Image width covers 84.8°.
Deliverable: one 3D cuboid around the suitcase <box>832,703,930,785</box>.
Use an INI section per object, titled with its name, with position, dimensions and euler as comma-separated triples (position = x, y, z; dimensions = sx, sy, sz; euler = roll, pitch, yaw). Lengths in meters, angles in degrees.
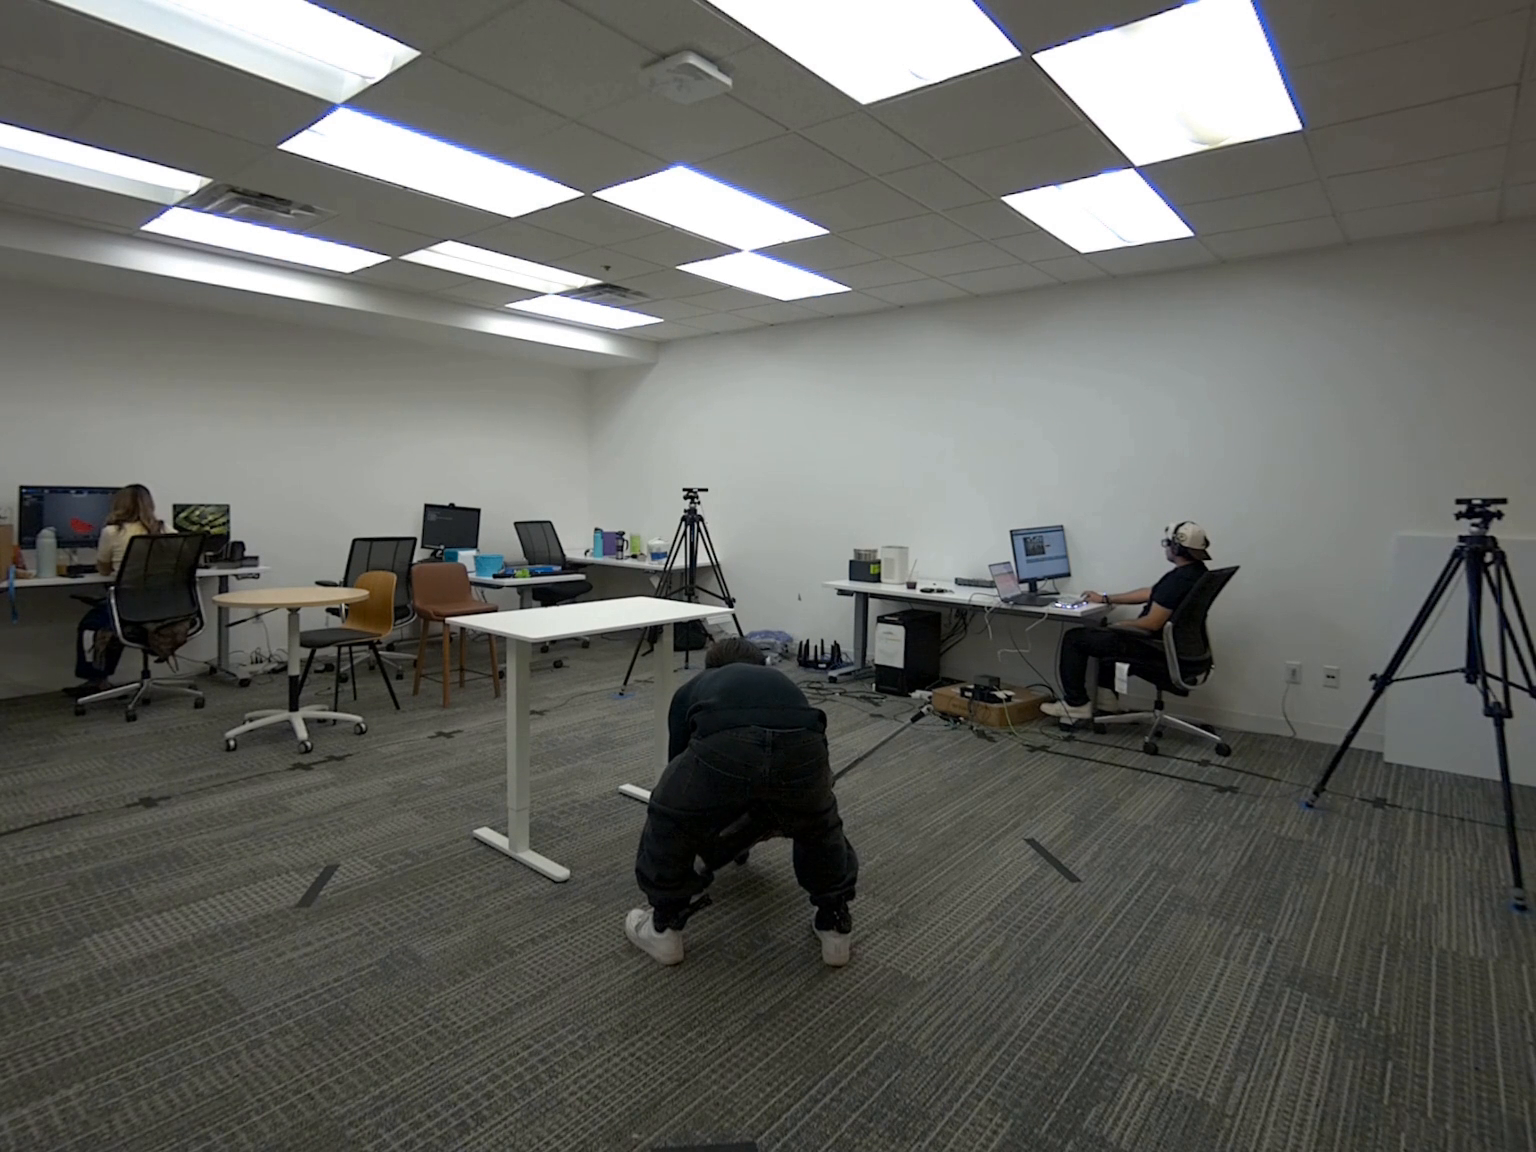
[suitcase]
position = 0.089, 0.656, 2.931
dimensions = 0.980, 0.264, 0.373
euler = -43, -19, 18
